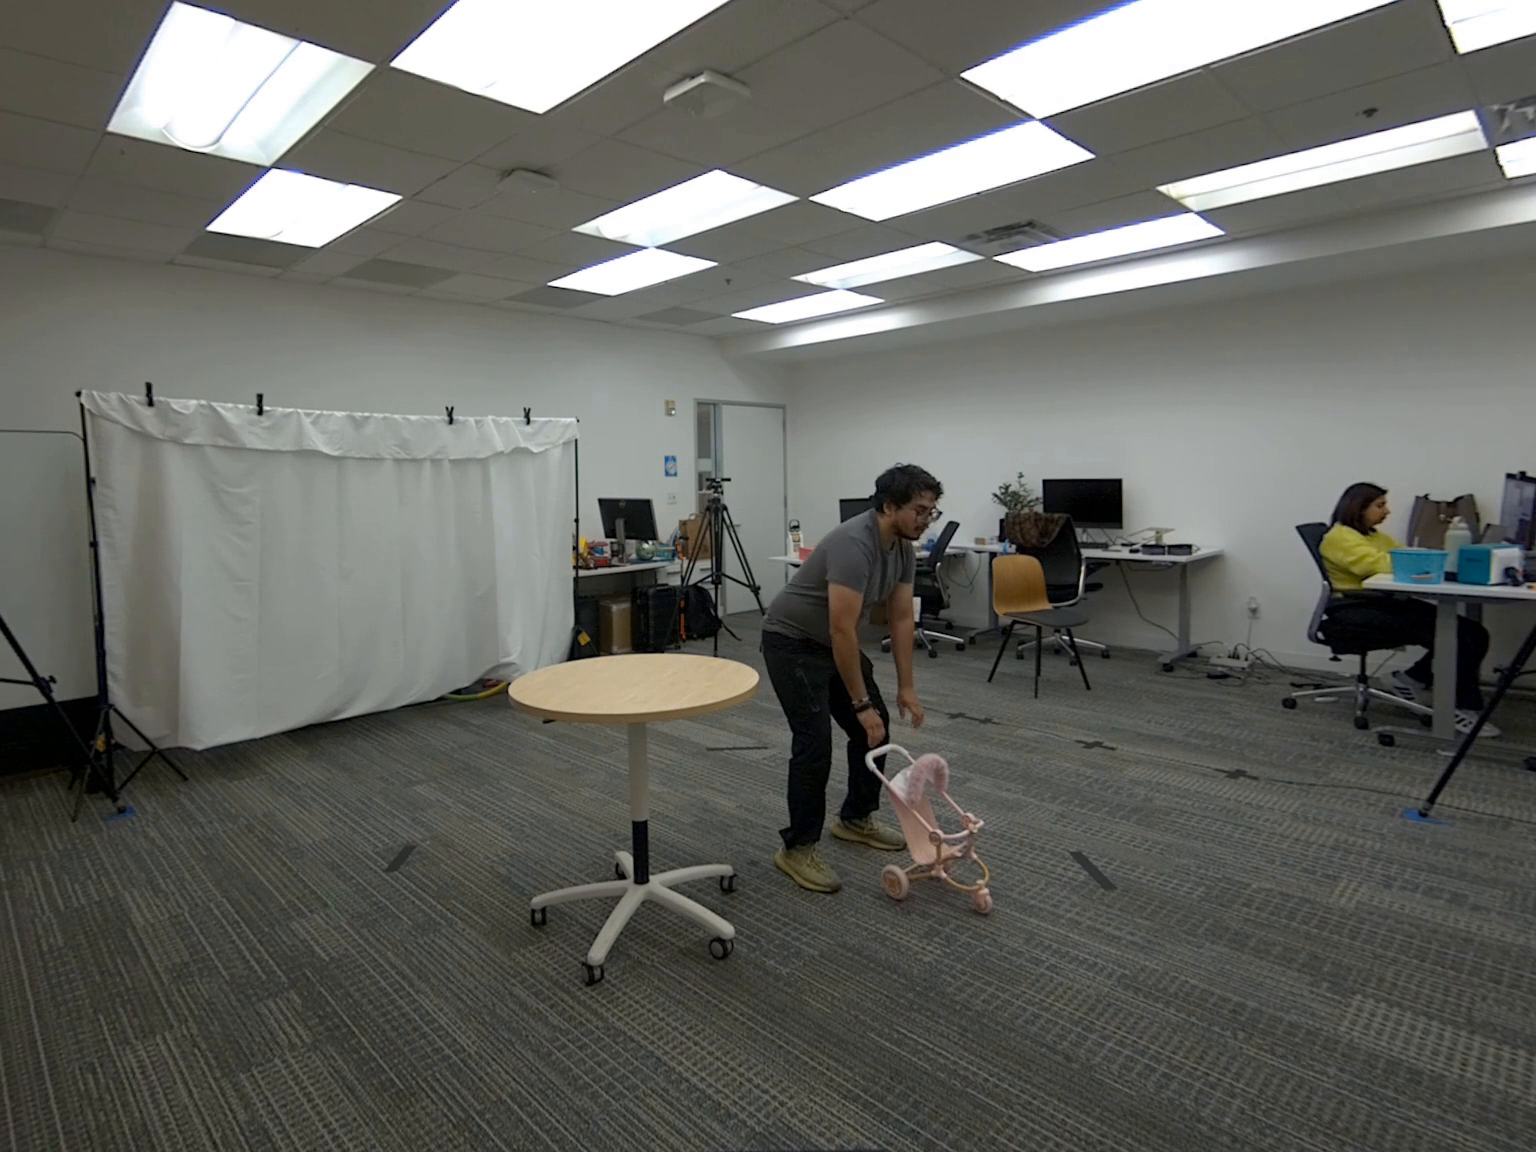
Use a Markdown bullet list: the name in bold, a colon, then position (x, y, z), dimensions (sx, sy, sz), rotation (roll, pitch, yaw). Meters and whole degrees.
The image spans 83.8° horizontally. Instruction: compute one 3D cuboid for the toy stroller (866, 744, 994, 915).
- **toy stroller**: position (0.552, 0.835, 2.845), dimensions (0.274, 0.539, 0.347), rotation (-5, -9, -40)
